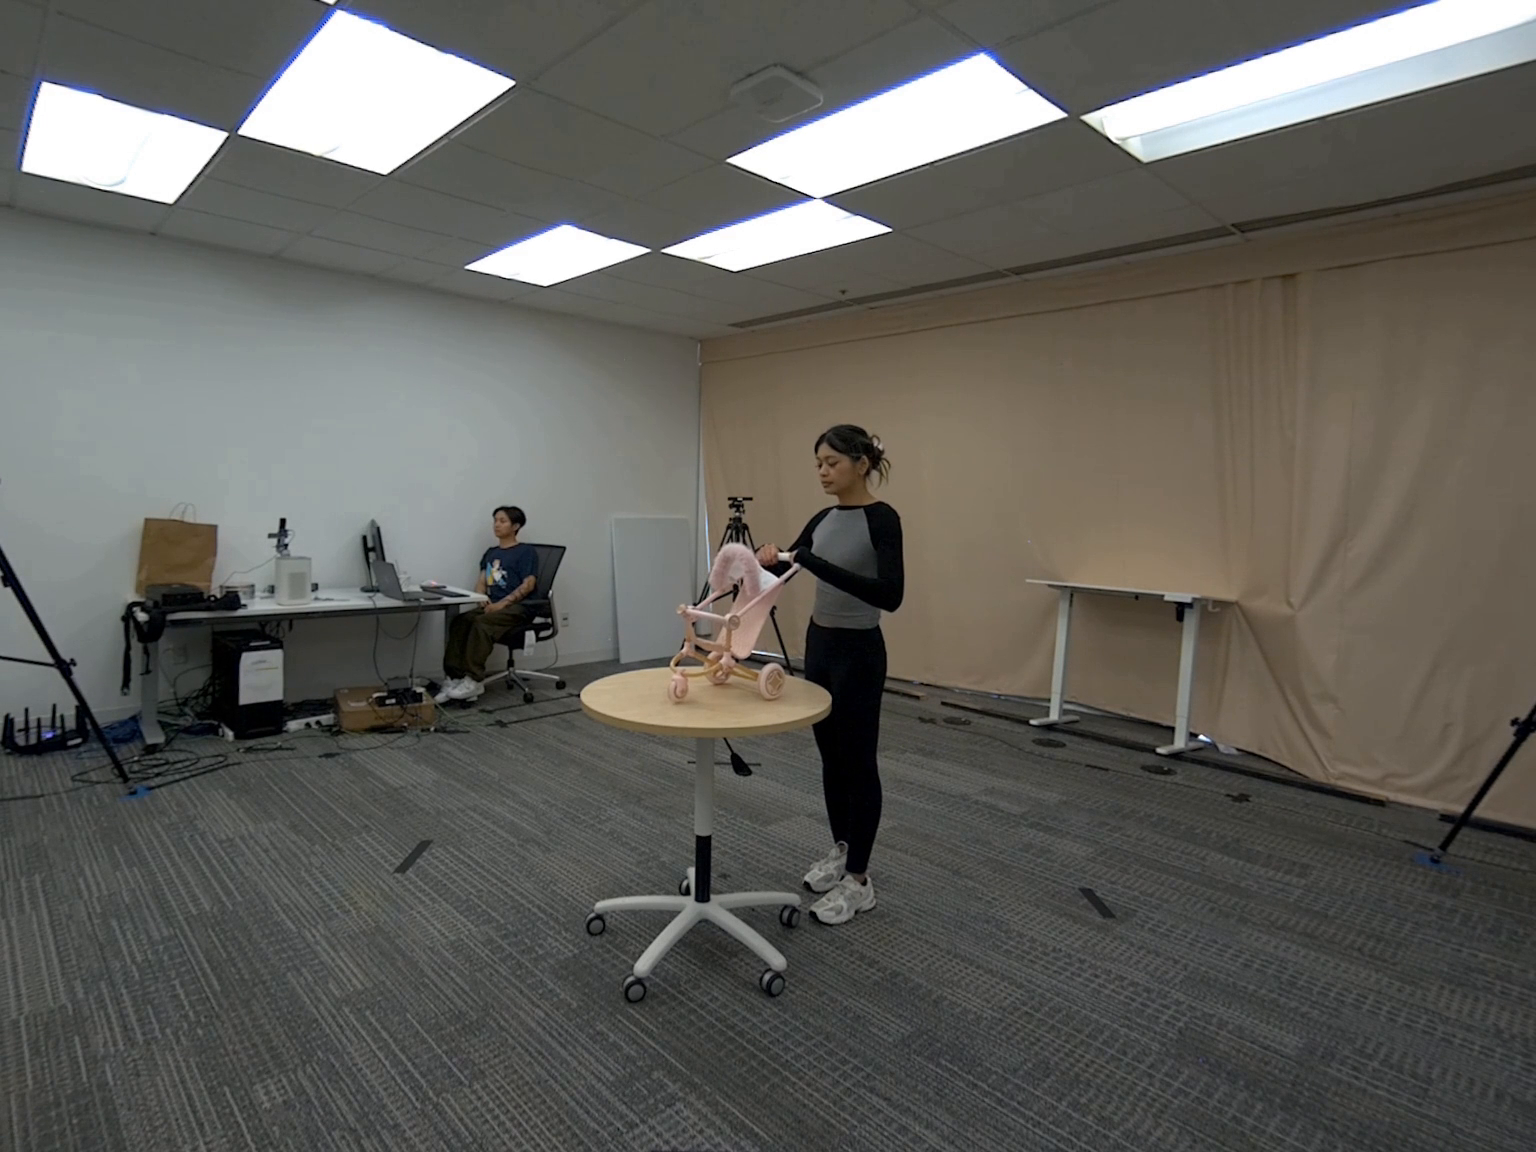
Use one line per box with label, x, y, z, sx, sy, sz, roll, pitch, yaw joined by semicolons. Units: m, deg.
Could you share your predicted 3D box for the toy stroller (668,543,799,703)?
toy stroller;-0.119;0.140;2.557;0.332;0.537;0.288;18;-7;-37
